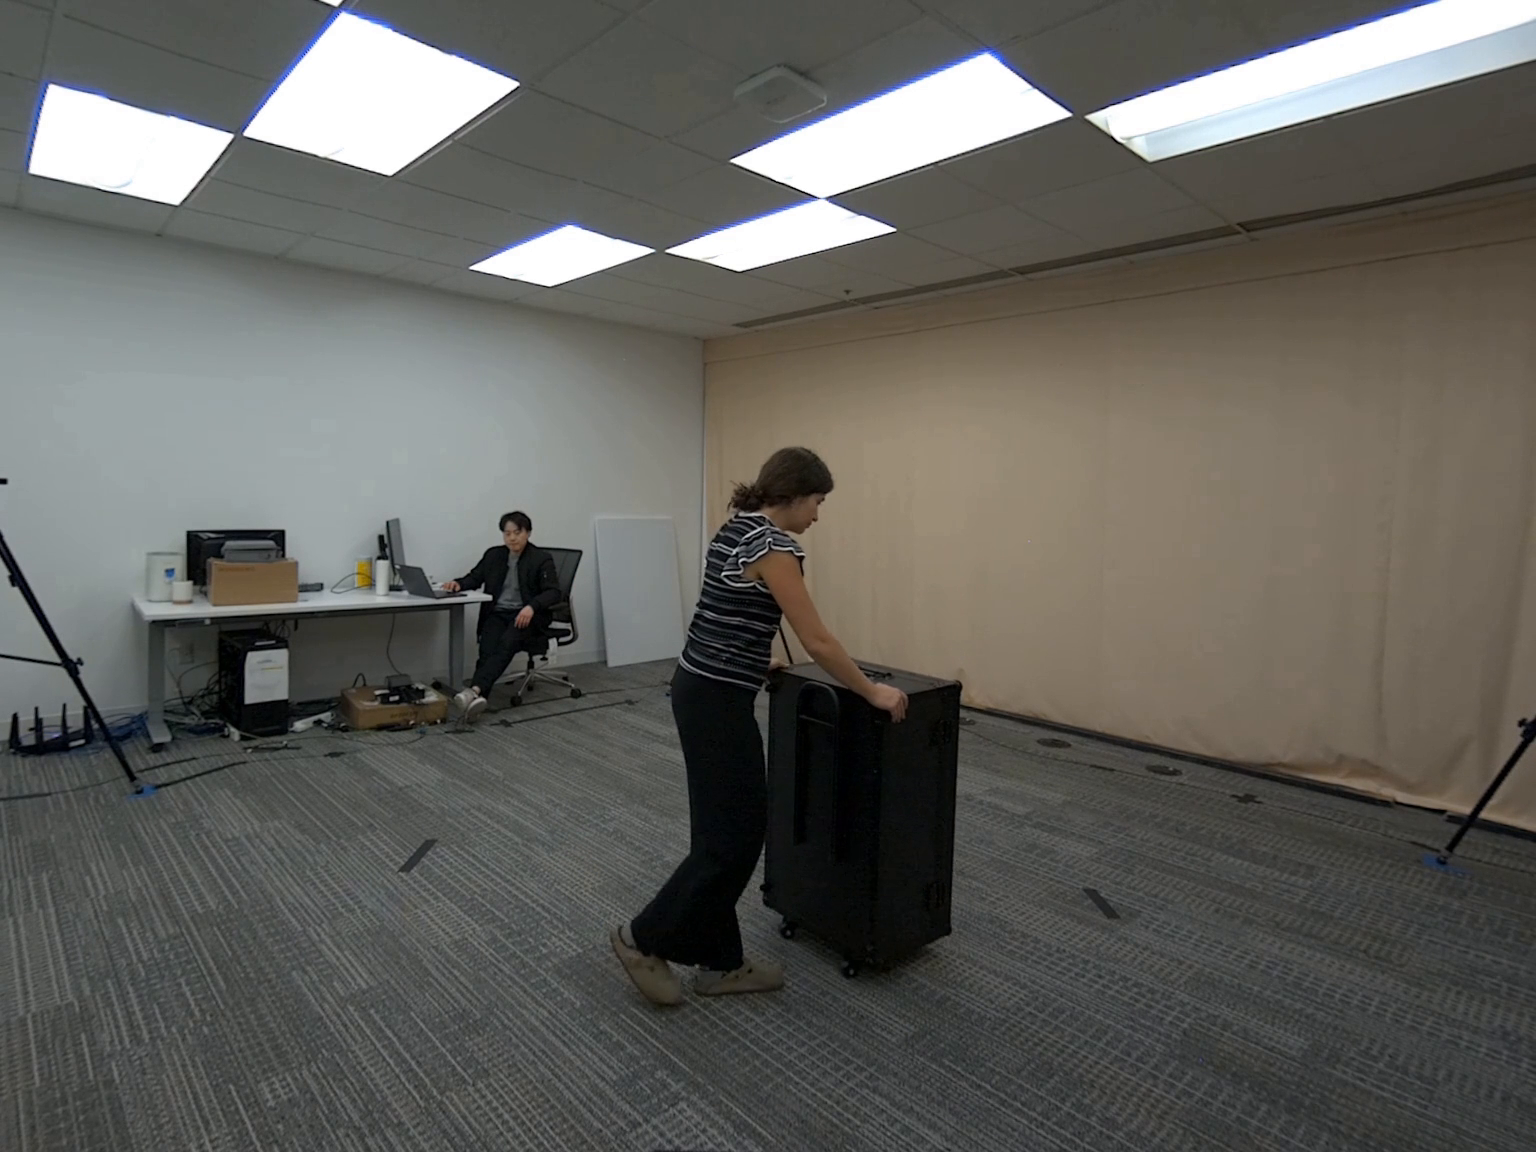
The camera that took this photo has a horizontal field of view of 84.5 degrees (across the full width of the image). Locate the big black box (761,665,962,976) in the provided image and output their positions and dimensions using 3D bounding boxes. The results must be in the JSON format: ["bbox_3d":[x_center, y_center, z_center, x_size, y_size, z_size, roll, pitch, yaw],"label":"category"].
[{"bbox_3d":[0.275,0.735,2.632,0.387,0.859,0.535,-2,6,-40],"label":"big black box"}]
